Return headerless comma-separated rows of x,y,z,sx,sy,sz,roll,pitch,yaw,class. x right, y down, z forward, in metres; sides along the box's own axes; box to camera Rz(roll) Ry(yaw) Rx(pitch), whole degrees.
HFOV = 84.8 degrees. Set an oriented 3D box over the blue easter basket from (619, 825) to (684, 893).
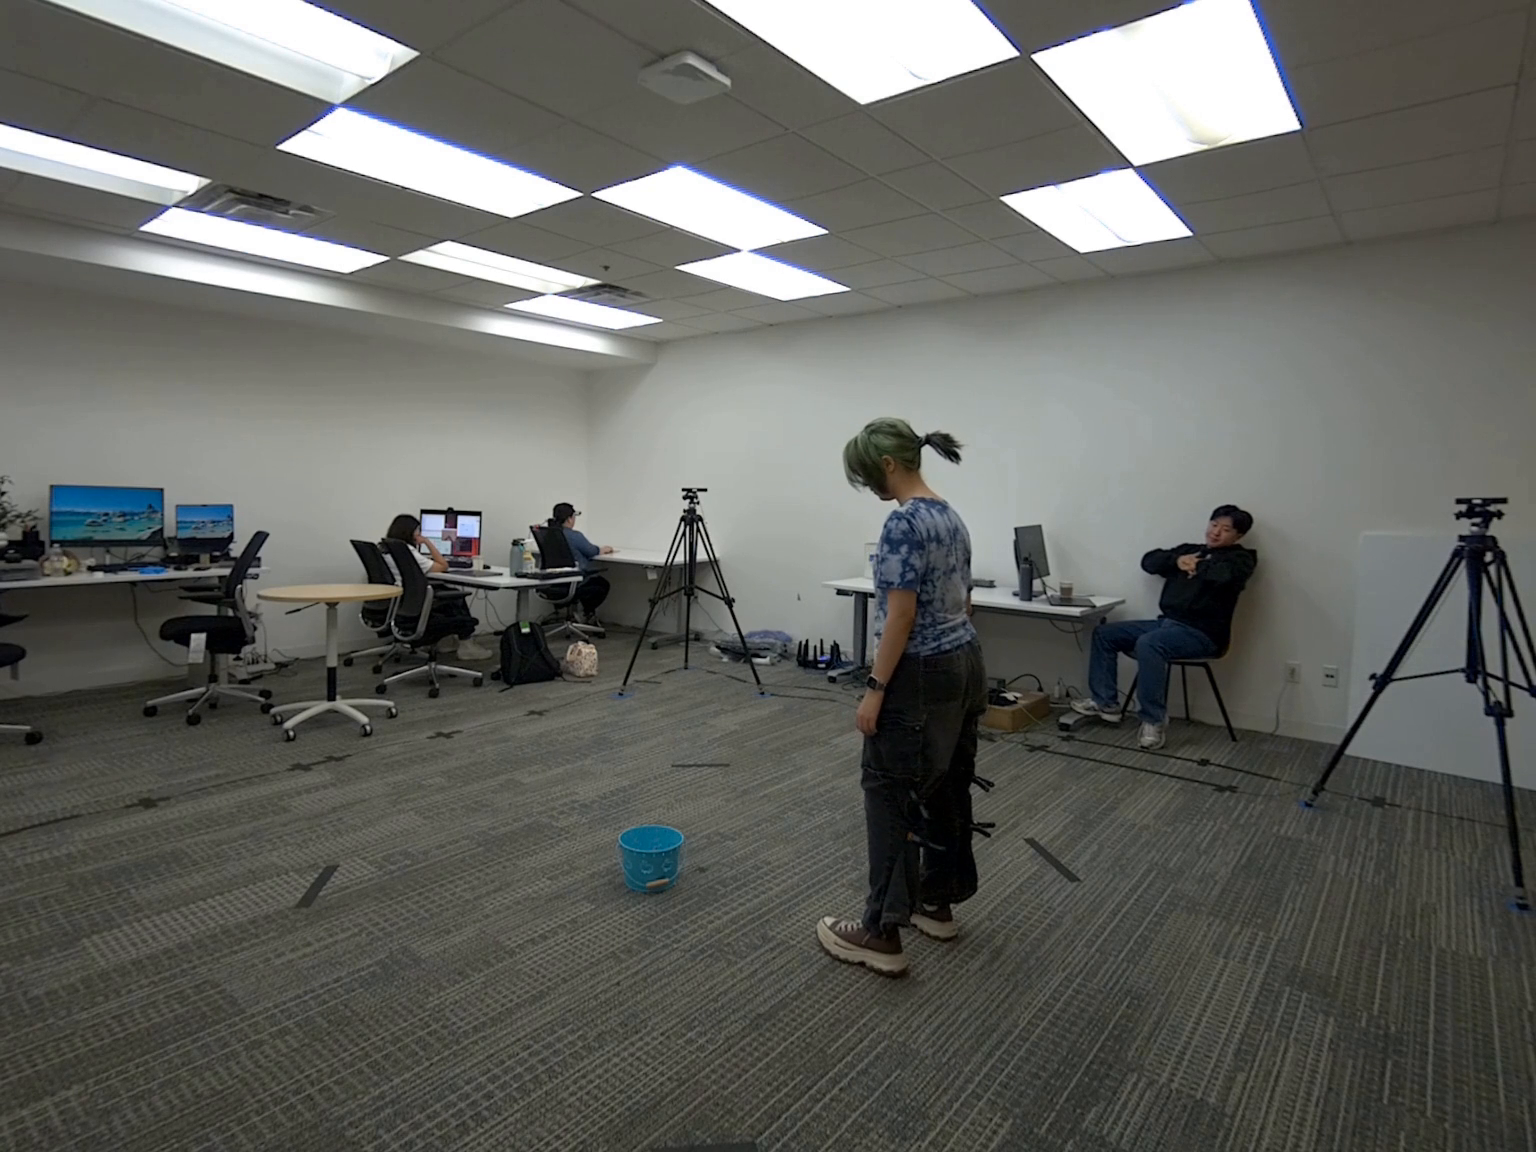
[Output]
-0.428,0.998,3.006,0.243,0.155,0.245,0,4,-2,blue easter basket
